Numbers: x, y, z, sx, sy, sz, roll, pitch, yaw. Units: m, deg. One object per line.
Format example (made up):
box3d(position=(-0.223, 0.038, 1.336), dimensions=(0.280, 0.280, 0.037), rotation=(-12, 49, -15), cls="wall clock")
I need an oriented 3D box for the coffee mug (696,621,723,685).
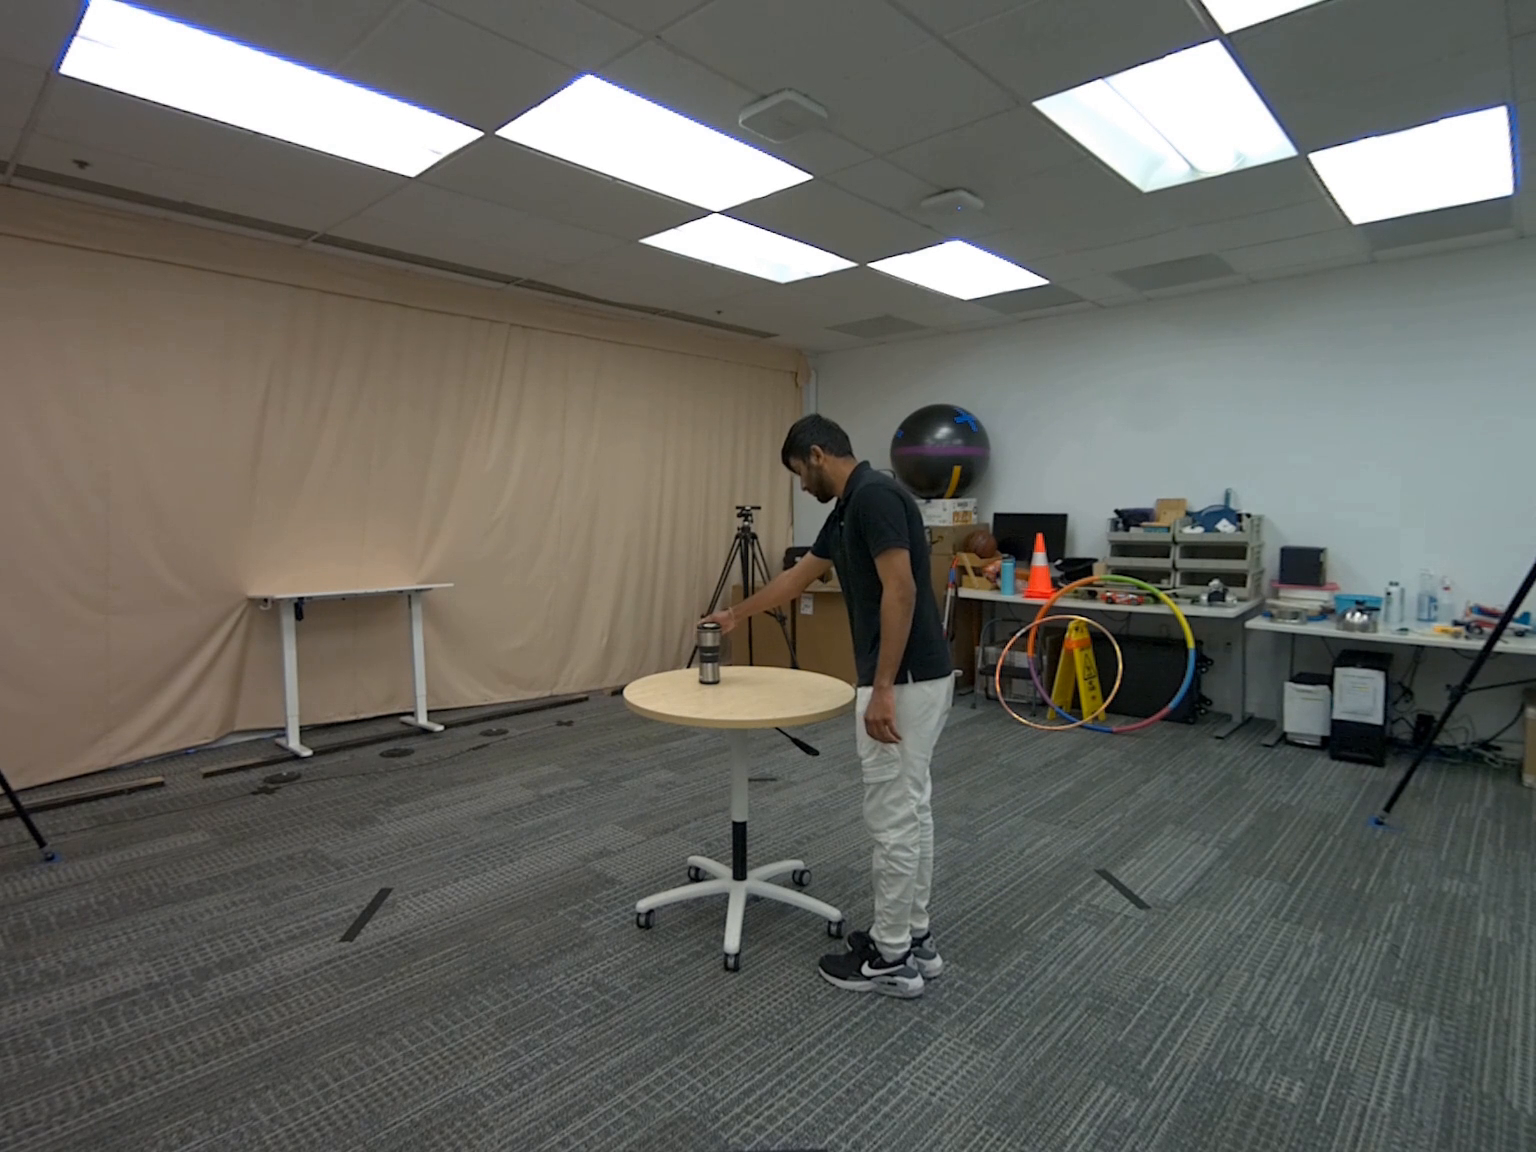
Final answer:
box3d(position=(-0.193, 0.274, 2.884), dimensions=(0.085, 0.203, 0.125), rotation=(1, -1, -34), cls="coffee mug")
